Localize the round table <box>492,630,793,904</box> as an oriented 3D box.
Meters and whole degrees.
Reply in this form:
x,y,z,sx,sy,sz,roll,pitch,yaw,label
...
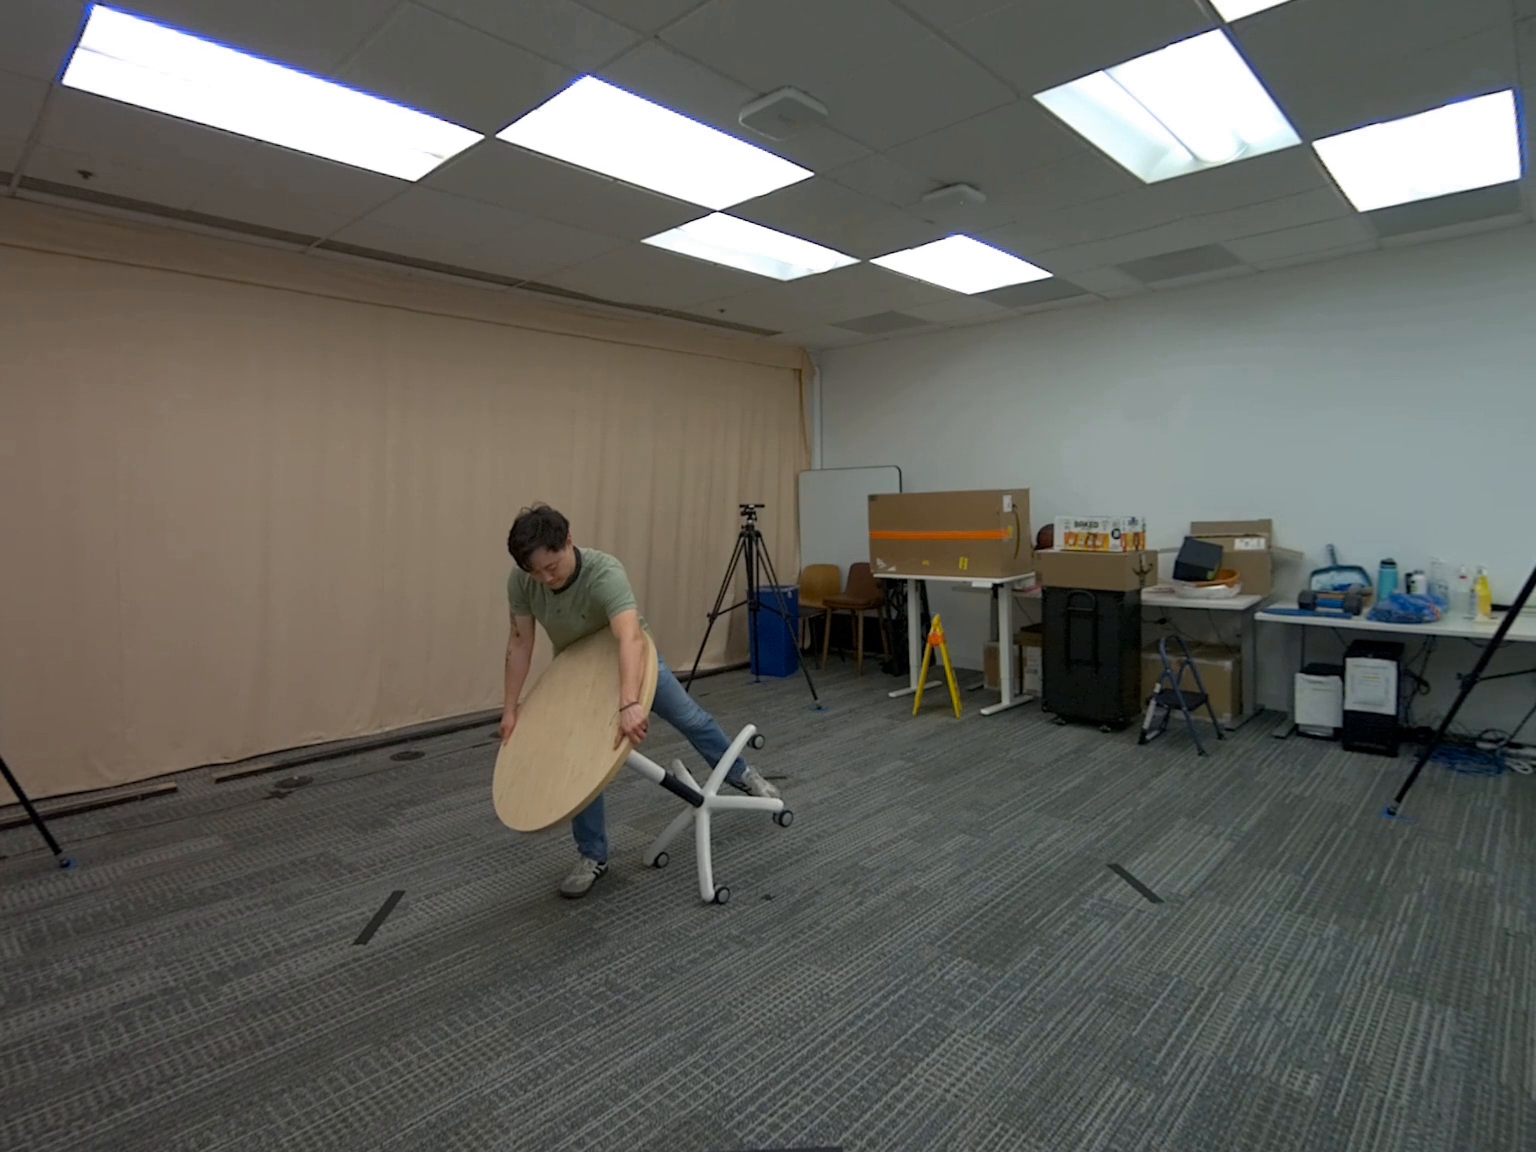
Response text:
x,y,z,sx,sy,sz,roll,pitch,yaw,label
-0.400,0.690,3.002,0.768,0.764,0.789,42,-23,-32,round table
